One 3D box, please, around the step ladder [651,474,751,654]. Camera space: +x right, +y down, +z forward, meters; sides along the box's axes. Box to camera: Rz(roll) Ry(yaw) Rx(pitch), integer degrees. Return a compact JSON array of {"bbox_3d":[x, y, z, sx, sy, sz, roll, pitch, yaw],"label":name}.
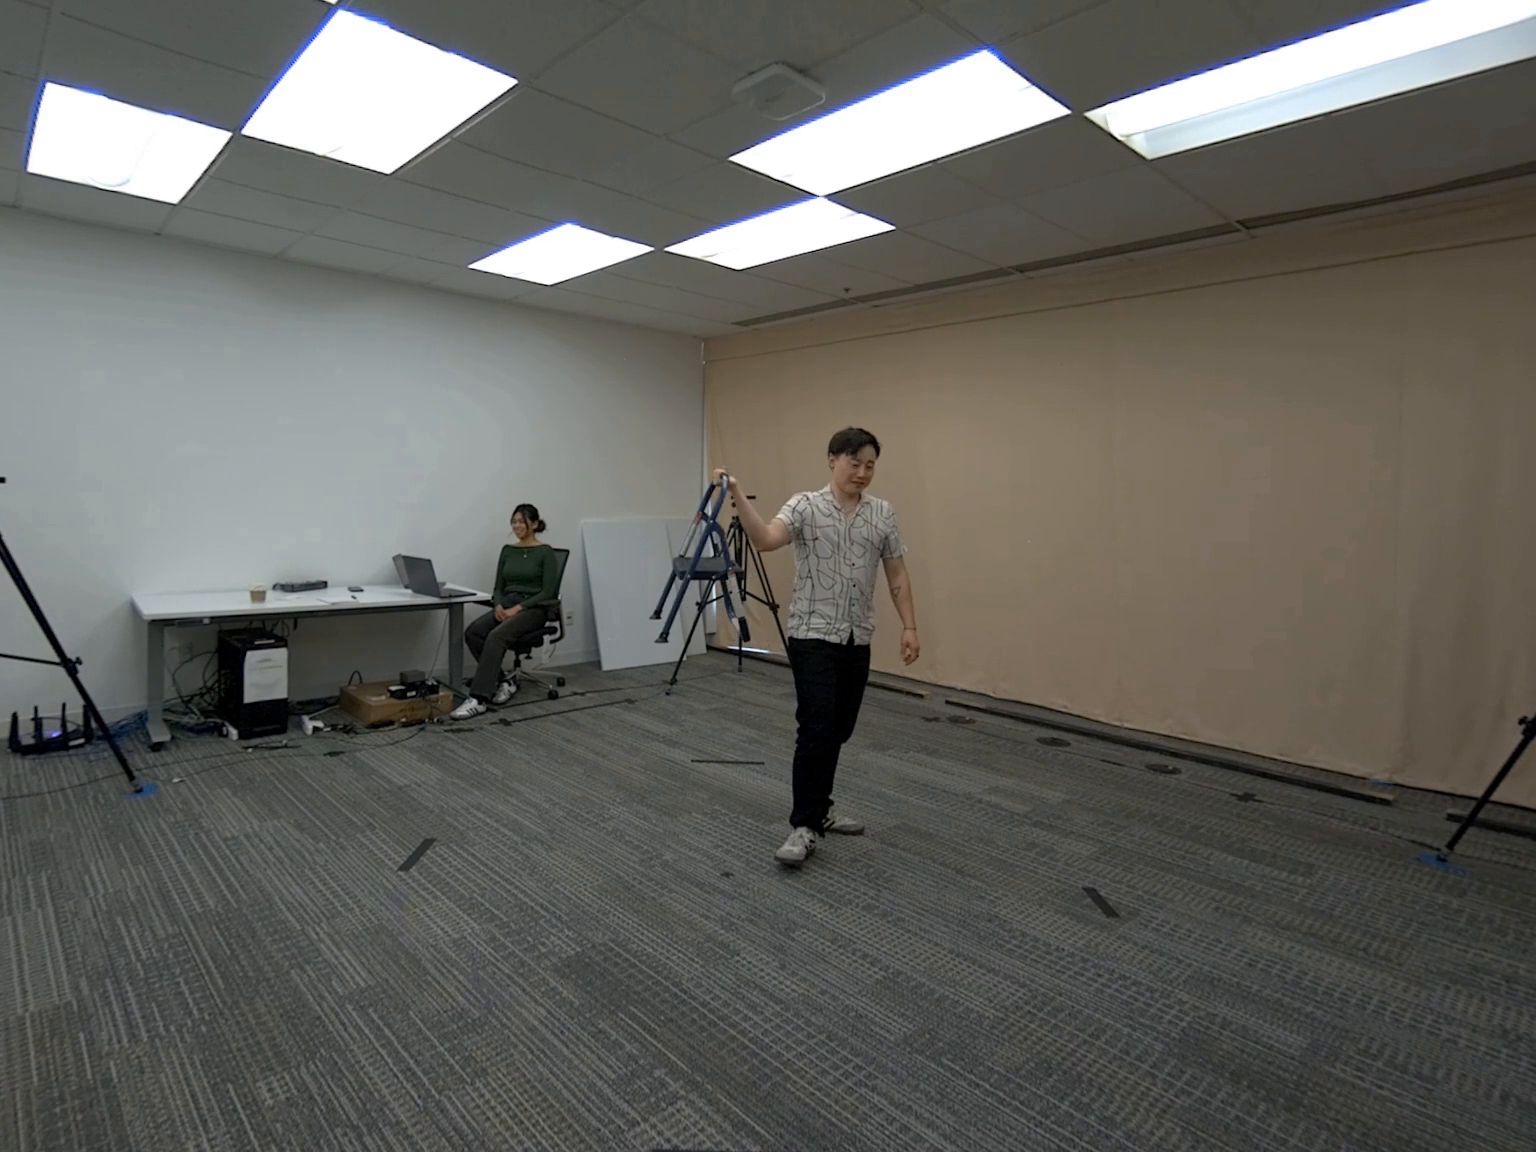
[{"bbox_3d":[-0.251,-0.084,3.216,0.347,0.603,0.435,0,7,-8],"label":"step ladder"}]
